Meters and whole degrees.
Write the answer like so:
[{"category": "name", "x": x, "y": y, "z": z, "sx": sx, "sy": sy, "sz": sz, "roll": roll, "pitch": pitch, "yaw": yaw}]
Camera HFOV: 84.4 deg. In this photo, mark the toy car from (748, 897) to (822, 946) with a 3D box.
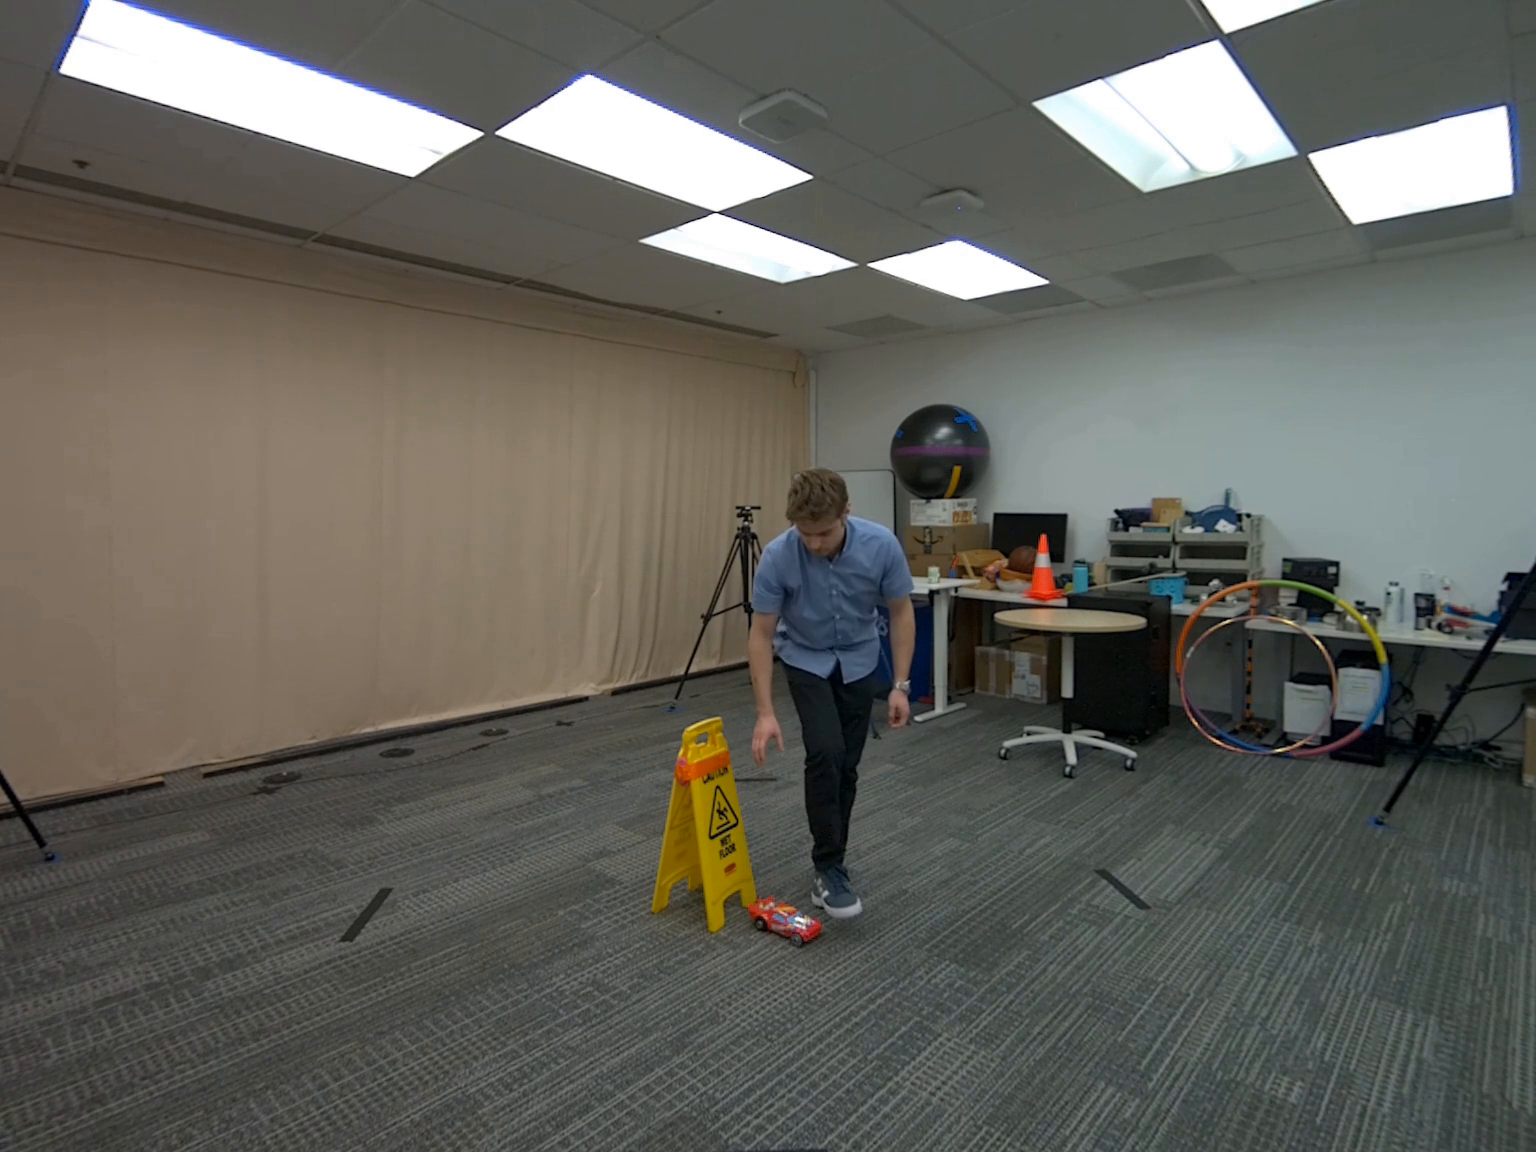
[{"category": "toy car", "x": 0.056, "y": 1.136, "z": 2.759, "sx": 0.264, "sy": 0.083, "sz": 0.126, "roll": 15, "pitch": 12, "yaw": 39}]
